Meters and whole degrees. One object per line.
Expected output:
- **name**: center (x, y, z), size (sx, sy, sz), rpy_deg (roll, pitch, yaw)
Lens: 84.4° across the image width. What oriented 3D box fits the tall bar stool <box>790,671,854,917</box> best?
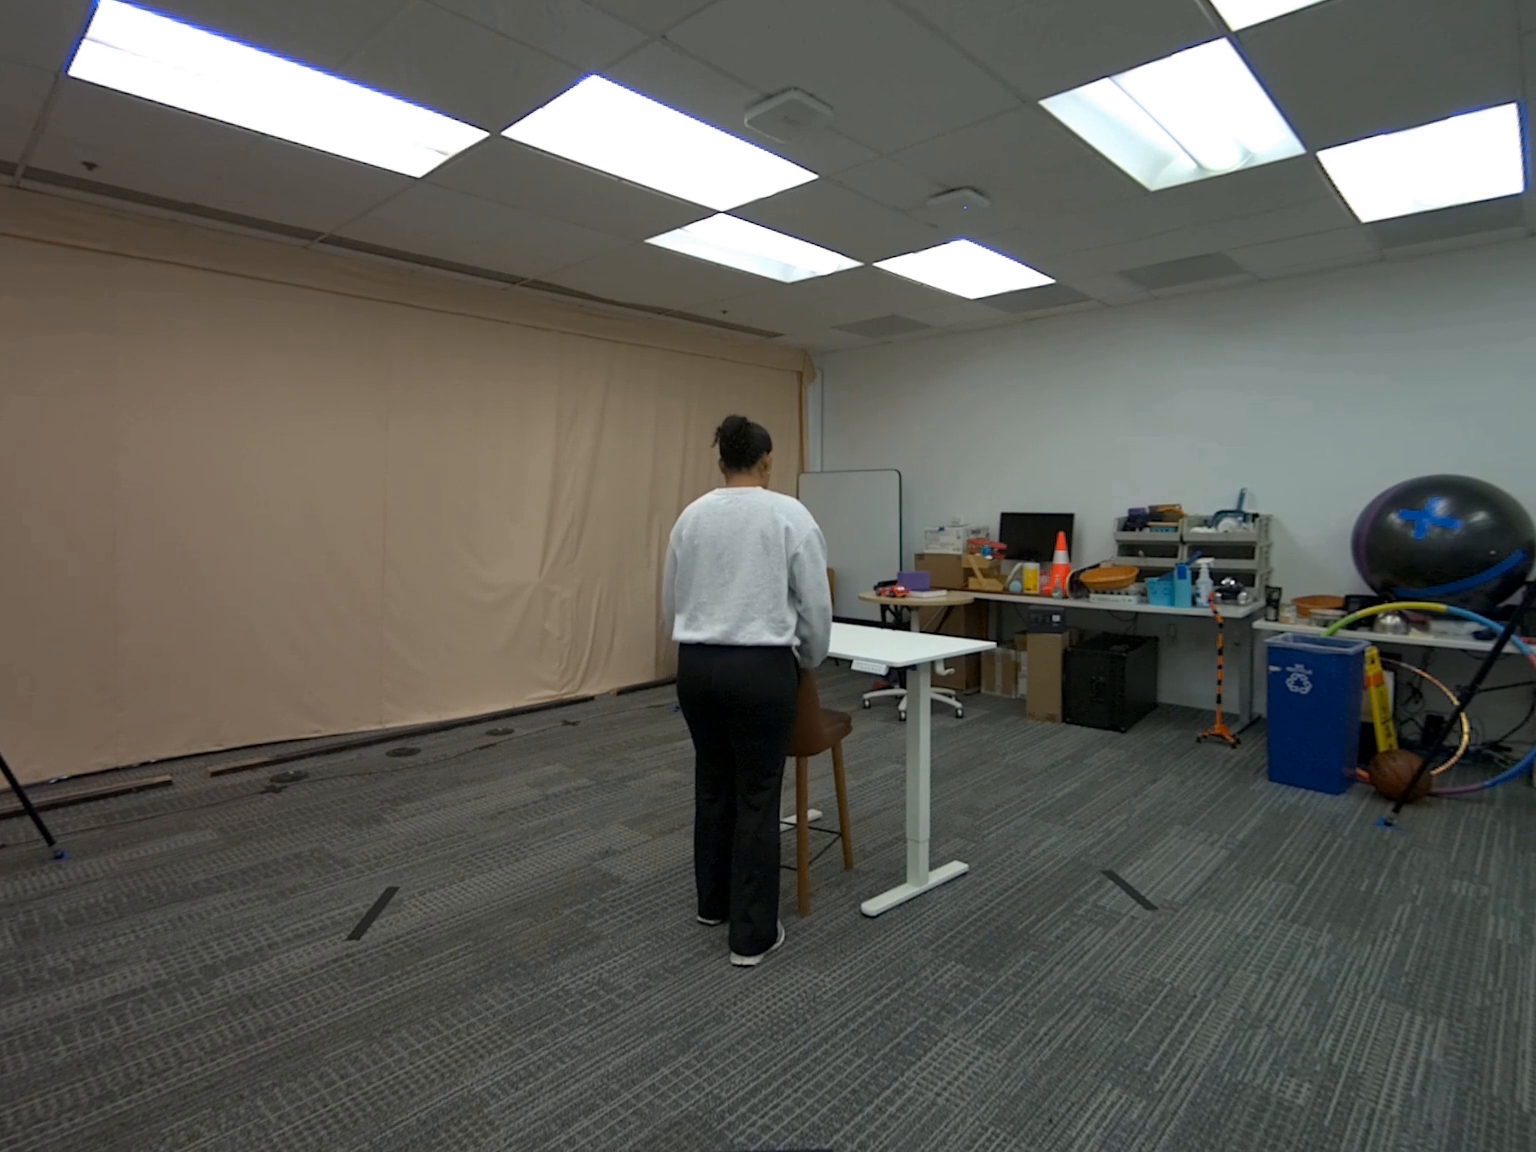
- **tall bar stool**: center (0.045, 0.696, 3.094), size (0.469, 0.886, 0.456), rpy_deg (1, 6, 28)
